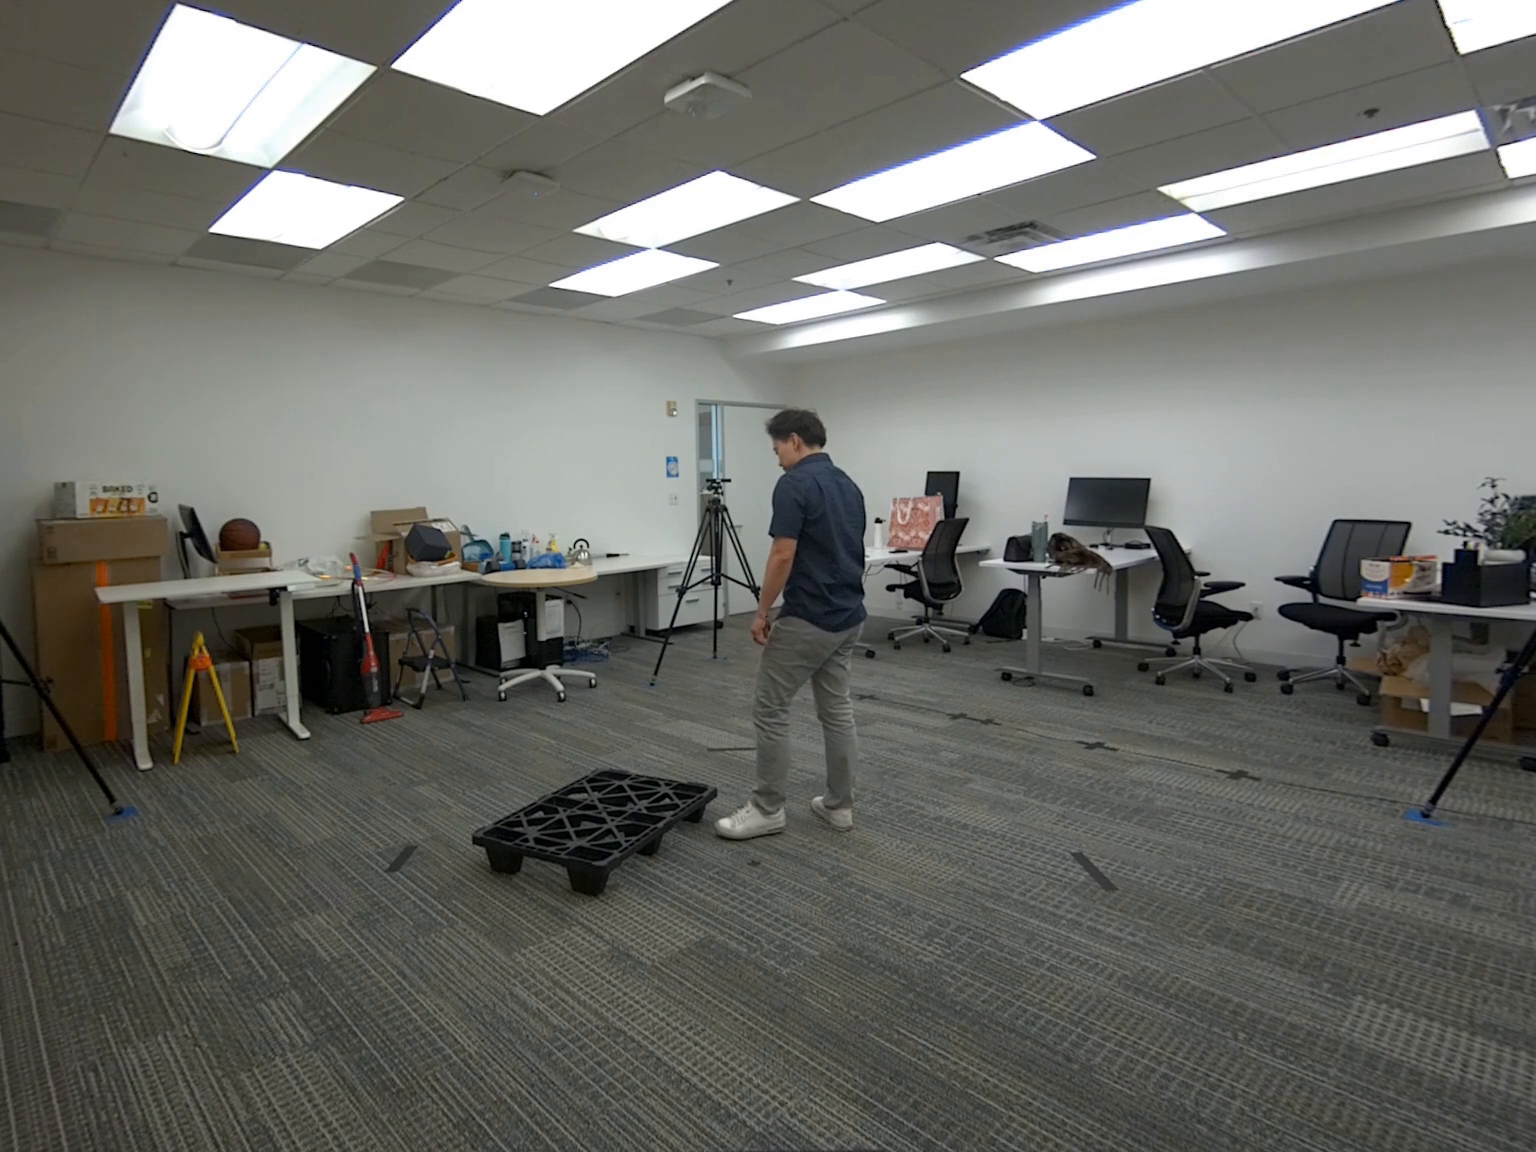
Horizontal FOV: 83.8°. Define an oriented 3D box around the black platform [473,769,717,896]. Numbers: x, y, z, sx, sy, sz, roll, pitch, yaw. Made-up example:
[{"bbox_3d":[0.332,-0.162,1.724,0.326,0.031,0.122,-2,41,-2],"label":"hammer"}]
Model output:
[{"bbox_3d":[-0.629,0.962,3.303,0.620,0.142,0.790,2,8,26],"label":"black platform"}]
